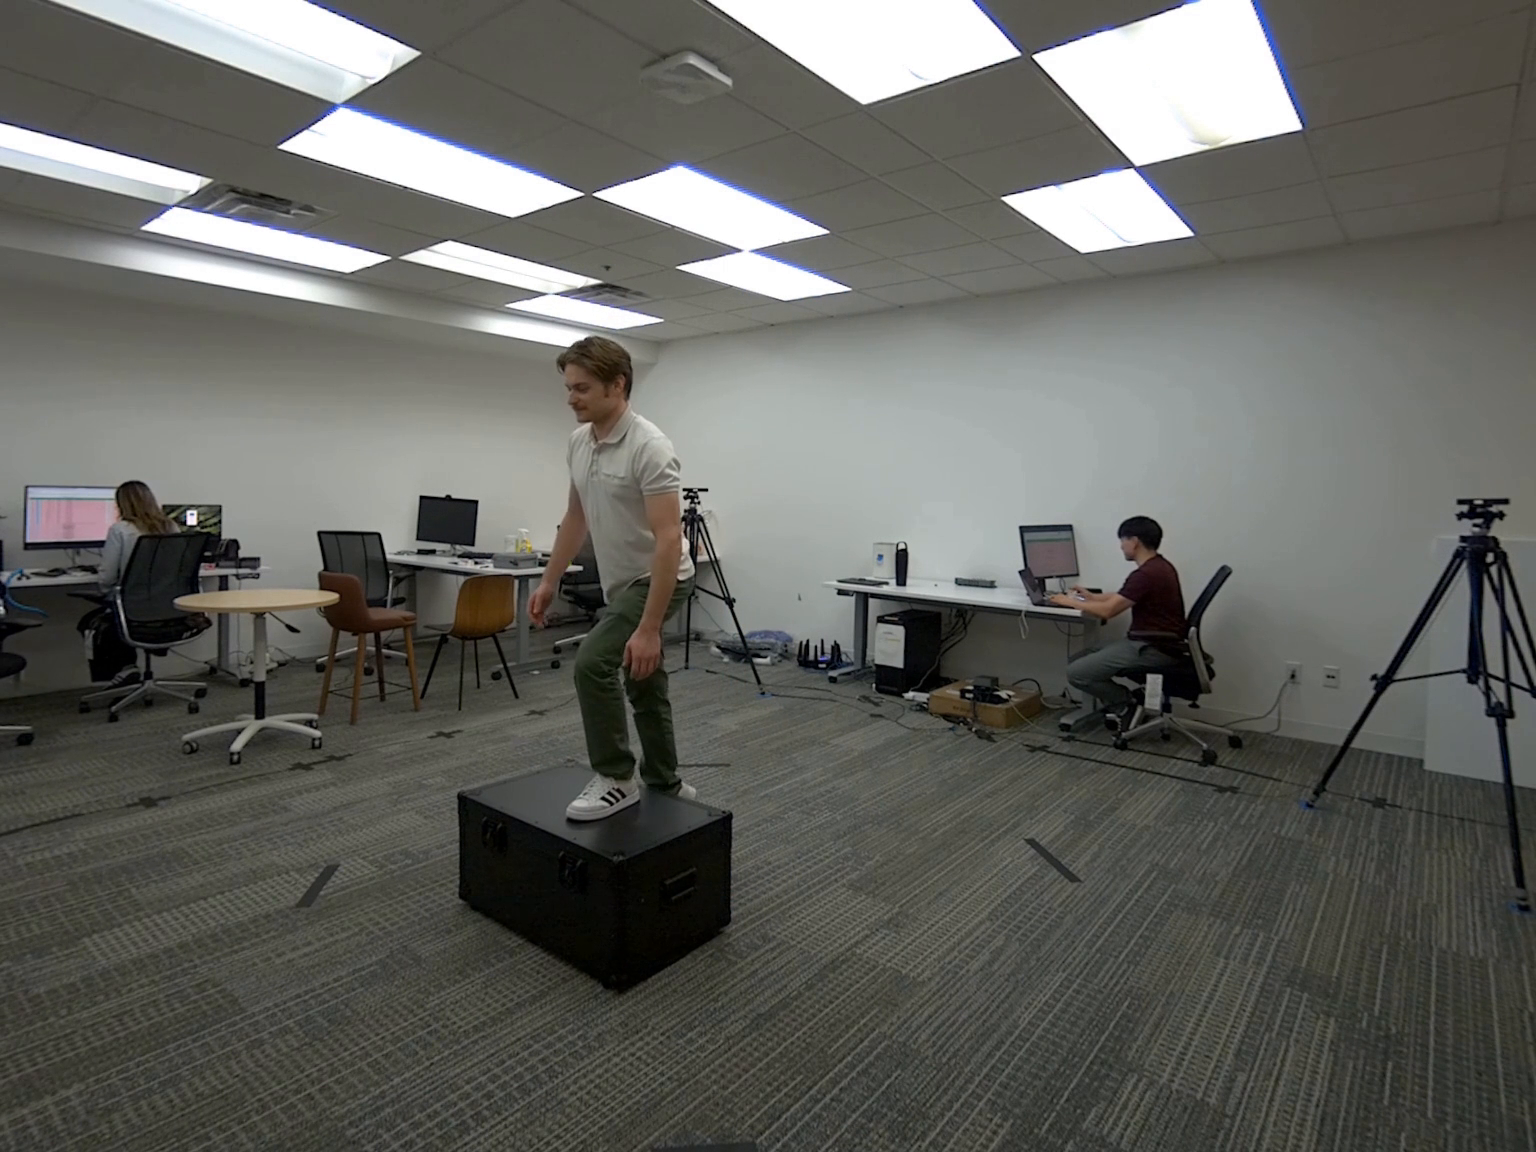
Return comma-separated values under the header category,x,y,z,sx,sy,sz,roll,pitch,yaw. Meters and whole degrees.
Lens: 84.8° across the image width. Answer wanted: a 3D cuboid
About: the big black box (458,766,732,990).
category,x,y,z,sx,sy,sz,roll,pitch,yaw
big black box,-0.602,0.906,2.763,0.897,0.383,0.508,5,7,39
